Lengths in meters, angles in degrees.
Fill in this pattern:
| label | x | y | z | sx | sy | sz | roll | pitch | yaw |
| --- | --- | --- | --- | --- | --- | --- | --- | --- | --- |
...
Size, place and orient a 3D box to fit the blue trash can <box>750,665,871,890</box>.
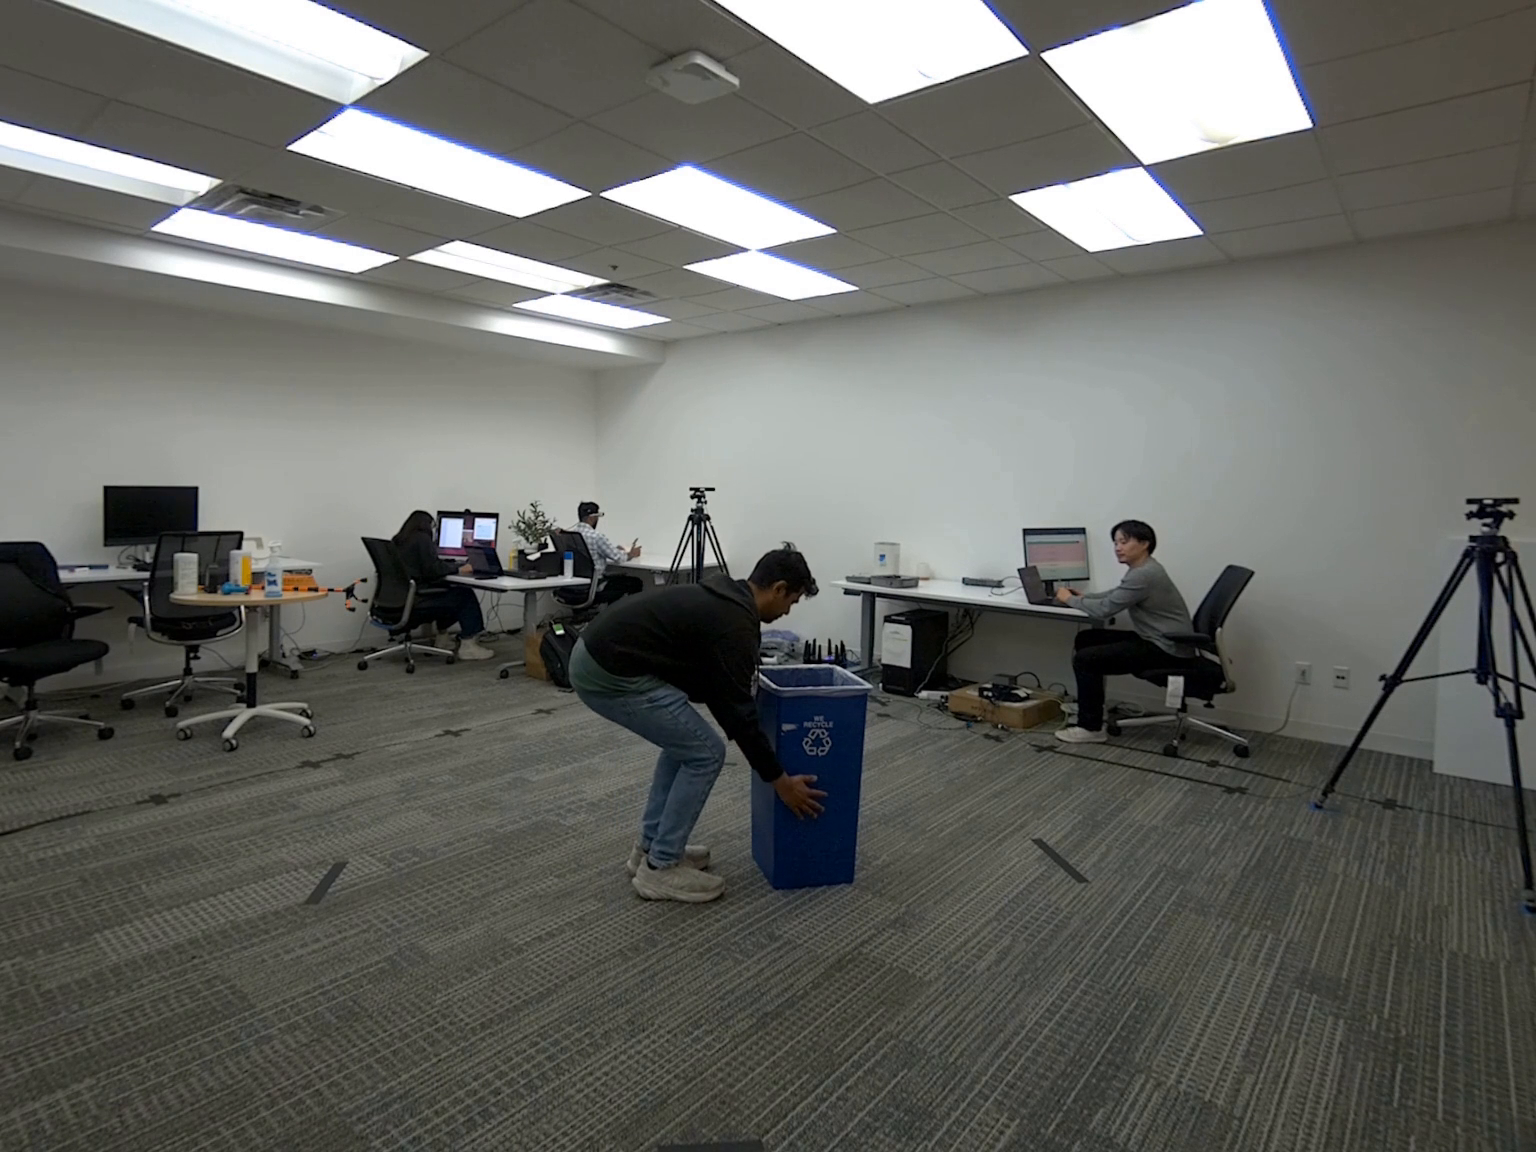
| label | x | y | z | sx | sy | sz | roll | pitch | yaw |
| --- | --- | --- | --- | --- | --- | --- | --- | --- | --- |
| blue trash can | 0.131 | 0.720 | 3.110 | 0.368 | 0.711 | 0.385 | 1 | 4 | -16 |
